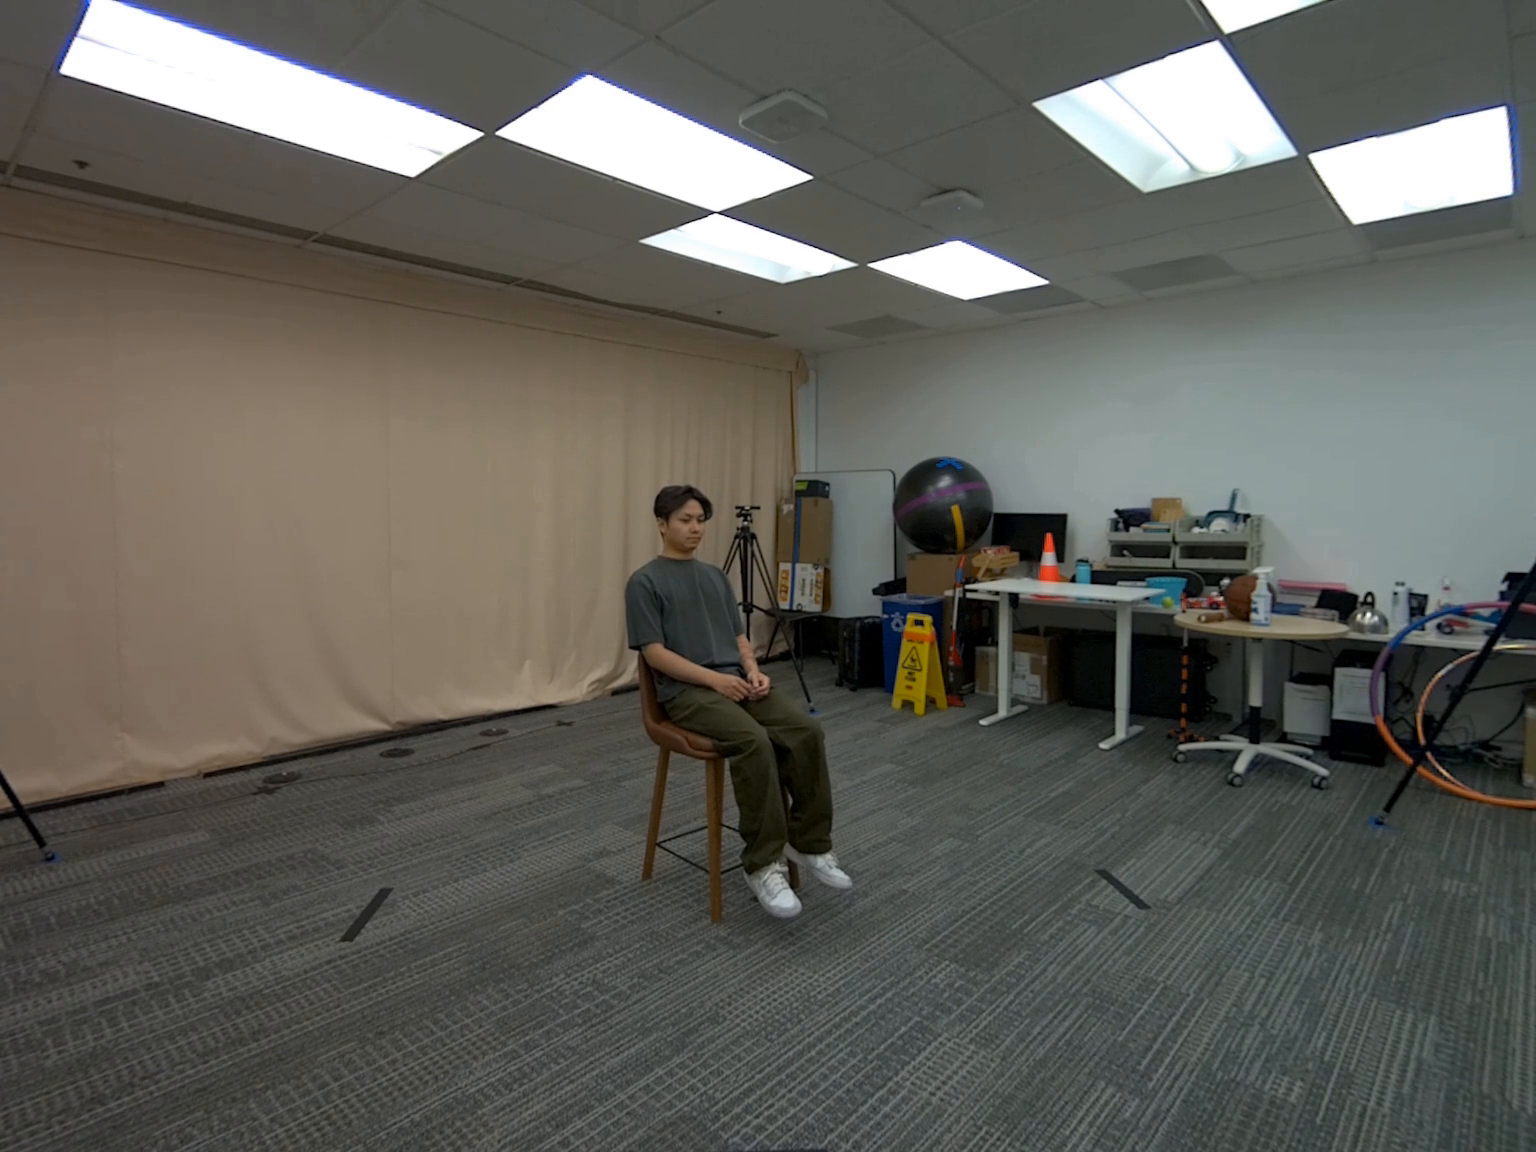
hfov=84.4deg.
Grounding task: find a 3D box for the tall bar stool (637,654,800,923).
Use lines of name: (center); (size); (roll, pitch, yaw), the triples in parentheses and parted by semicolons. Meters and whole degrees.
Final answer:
tall bar stool: (-0.199, 0.703, 3.097); (0.442, 0.889, 0.482); (-4, 2, -43)
